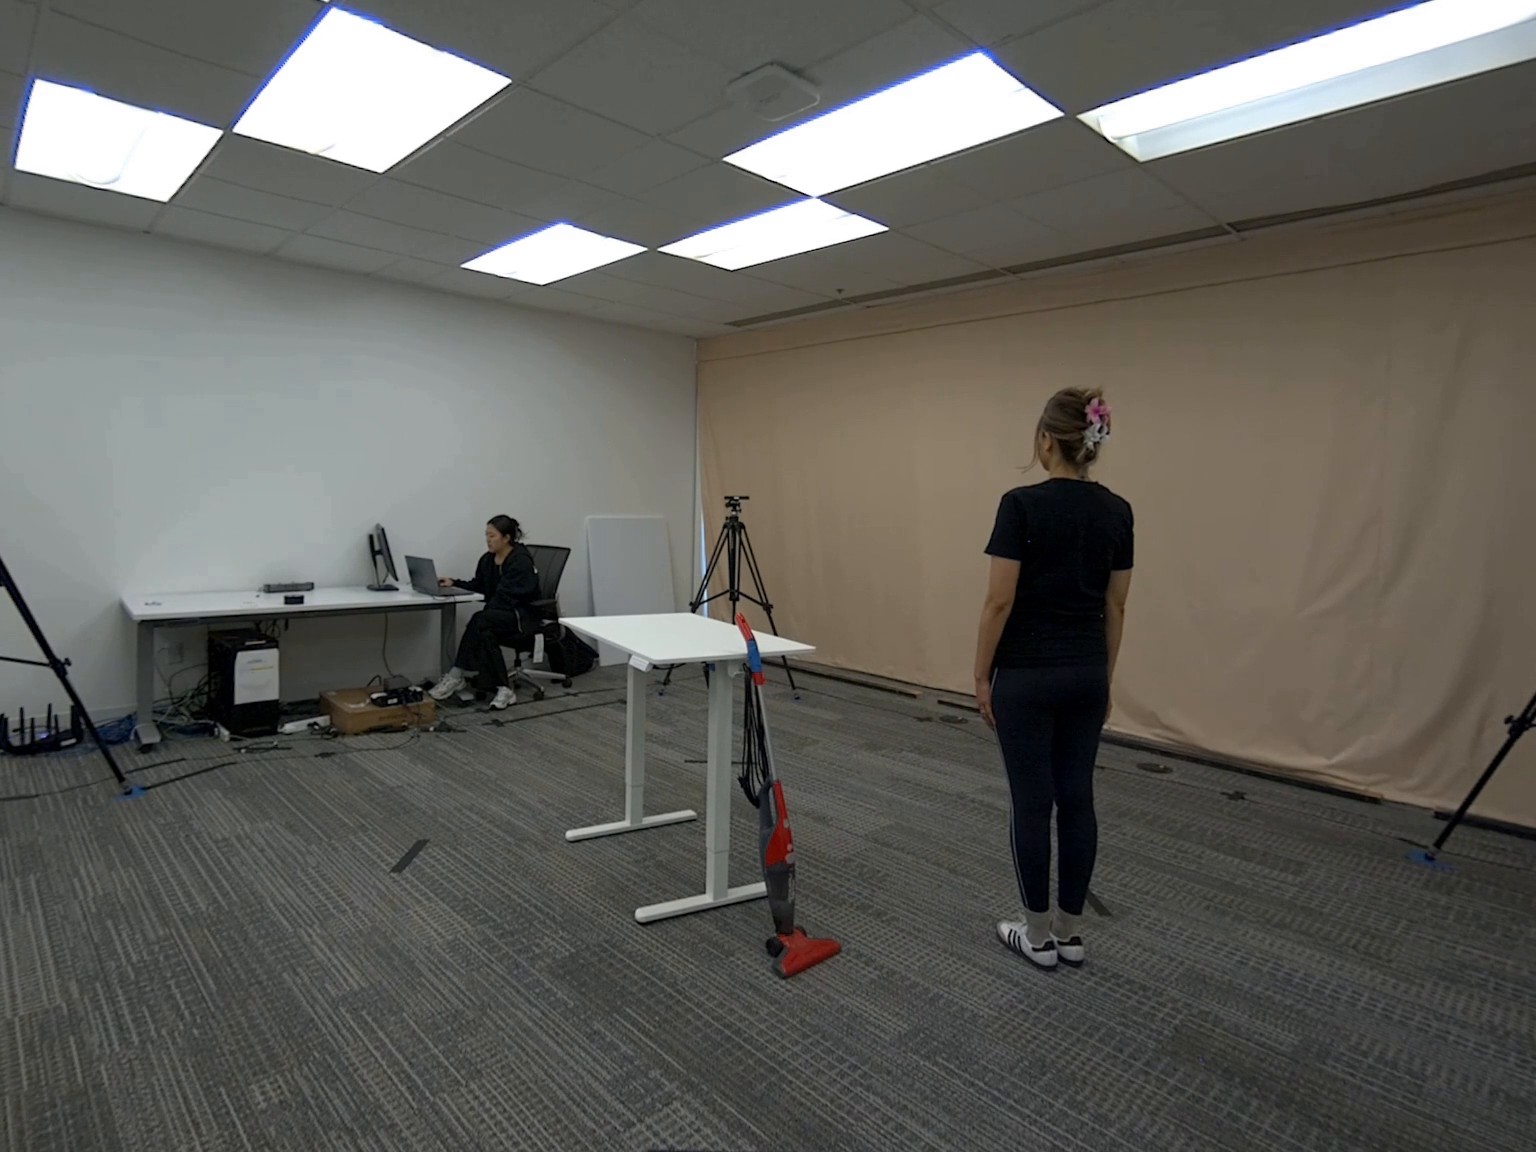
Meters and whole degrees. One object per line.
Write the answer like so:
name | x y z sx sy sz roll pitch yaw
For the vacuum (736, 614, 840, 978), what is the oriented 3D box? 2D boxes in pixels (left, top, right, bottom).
vacuum | -0.002 0.653 2.665 0.246 1.060 0.146 1 -16 -45
